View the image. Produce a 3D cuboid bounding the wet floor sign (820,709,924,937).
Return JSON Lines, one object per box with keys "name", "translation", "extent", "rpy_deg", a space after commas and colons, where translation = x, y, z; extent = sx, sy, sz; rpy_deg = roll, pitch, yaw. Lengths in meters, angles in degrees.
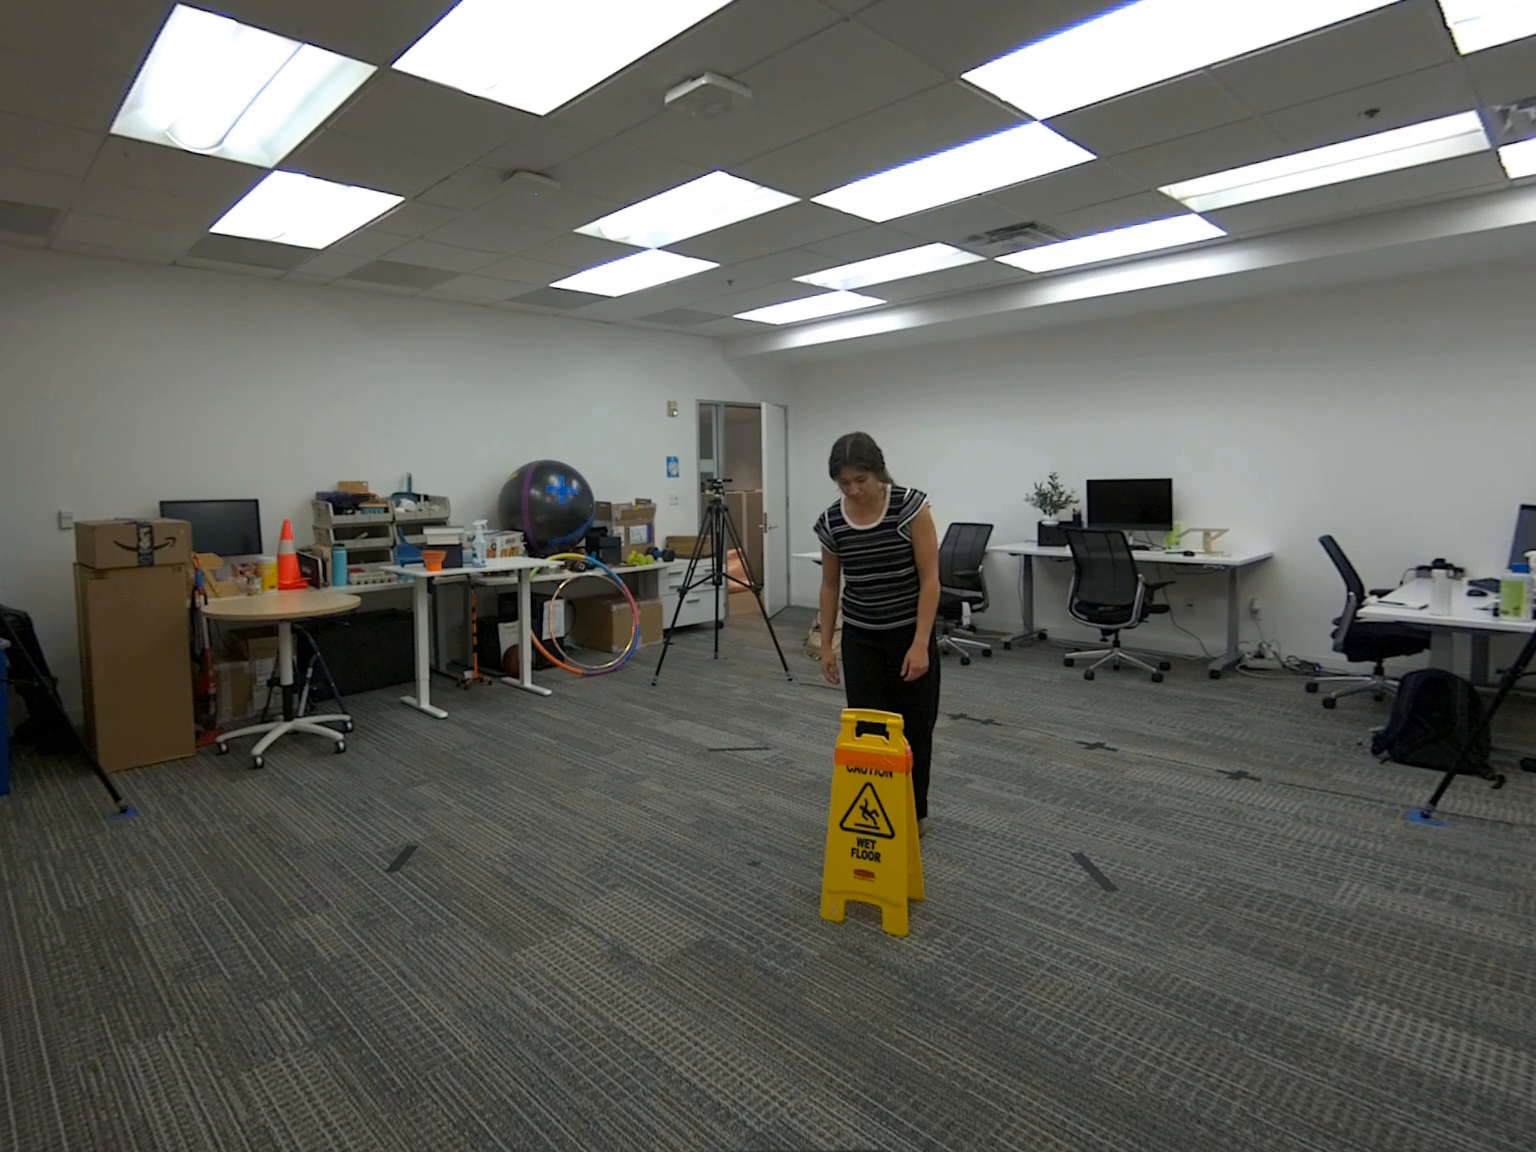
{"name": "wet floor sign", "translation": [0.338, 0.758, 2.735], "extent": [0.288, 0.643, 0.285], "rpy_deg": [0, 5, 23]}
